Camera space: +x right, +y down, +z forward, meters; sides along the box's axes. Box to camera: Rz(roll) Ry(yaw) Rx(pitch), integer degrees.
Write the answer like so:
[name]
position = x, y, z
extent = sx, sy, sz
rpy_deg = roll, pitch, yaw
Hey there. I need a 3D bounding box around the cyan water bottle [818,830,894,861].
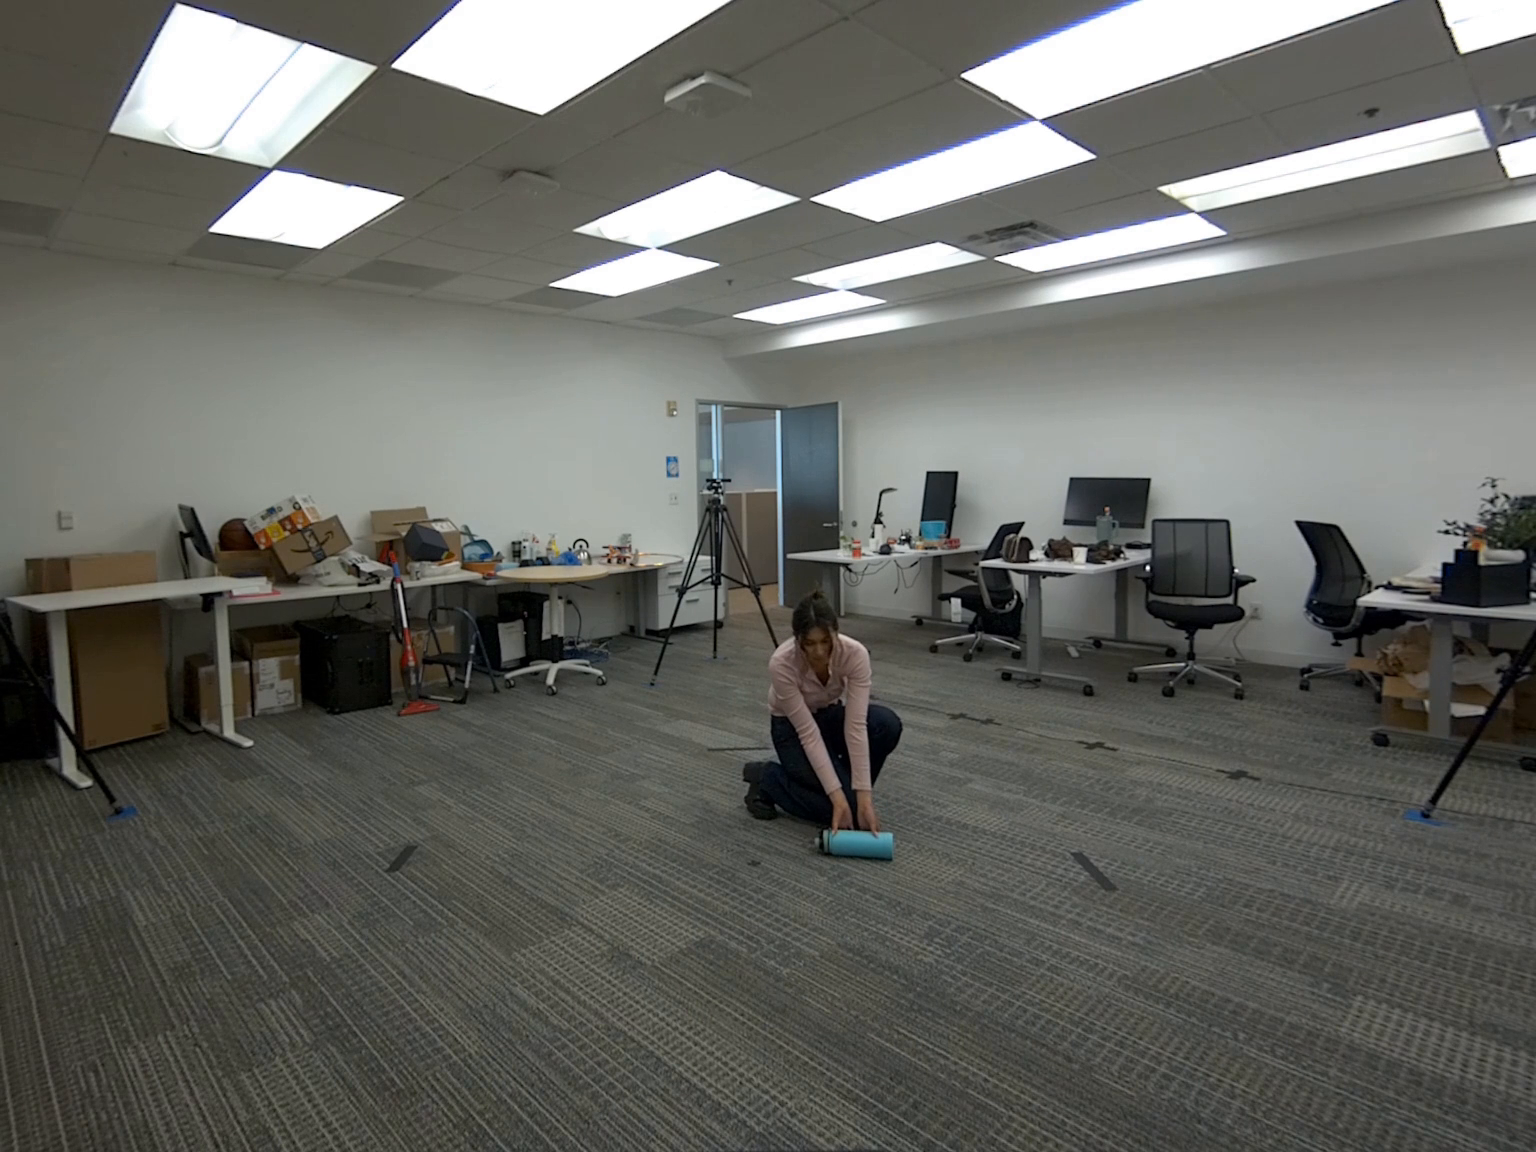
[cyan water bottle]
position = 0.321, 0.997, 3.156
extent = 0.287, 0.092, 0.091
rpy_deg = -2, 4, 12
